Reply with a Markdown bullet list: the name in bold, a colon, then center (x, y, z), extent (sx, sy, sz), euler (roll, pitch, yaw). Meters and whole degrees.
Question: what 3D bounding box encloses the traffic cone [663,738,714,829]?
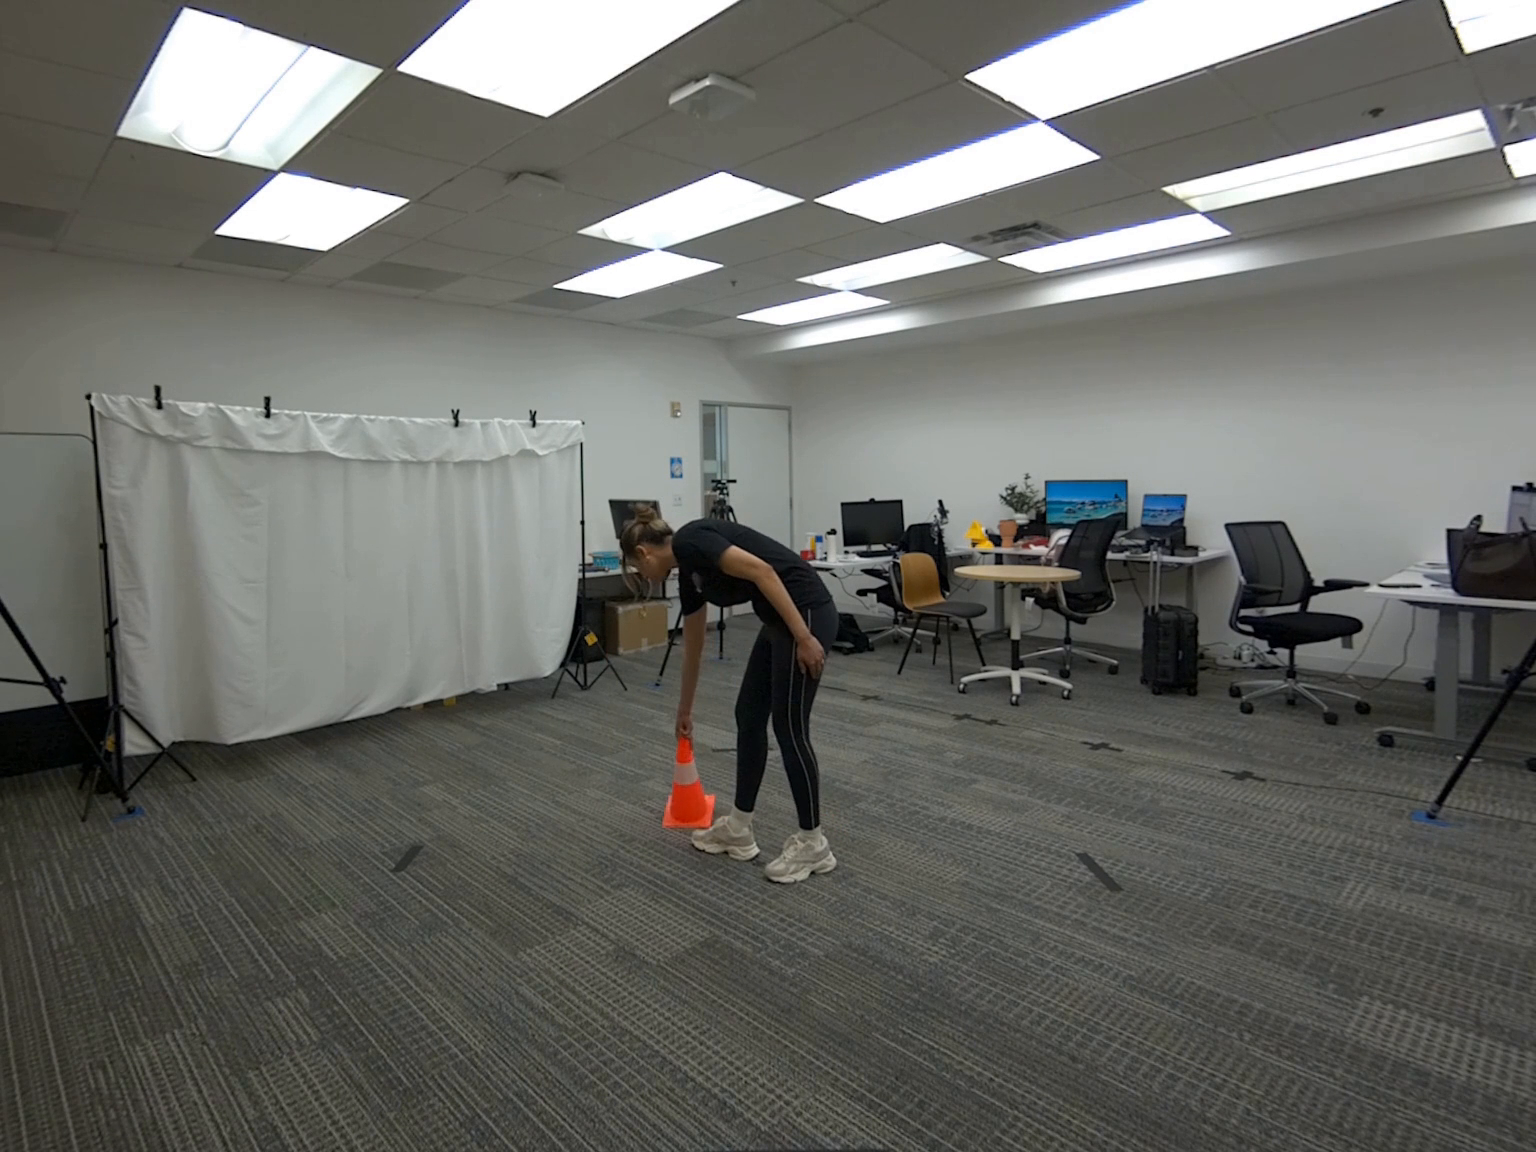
- **traffic cone**: center (-0.326, 0.802, 3.485), extent (0.205, 0.376, 0.207), euler (-1, 23, 8)
